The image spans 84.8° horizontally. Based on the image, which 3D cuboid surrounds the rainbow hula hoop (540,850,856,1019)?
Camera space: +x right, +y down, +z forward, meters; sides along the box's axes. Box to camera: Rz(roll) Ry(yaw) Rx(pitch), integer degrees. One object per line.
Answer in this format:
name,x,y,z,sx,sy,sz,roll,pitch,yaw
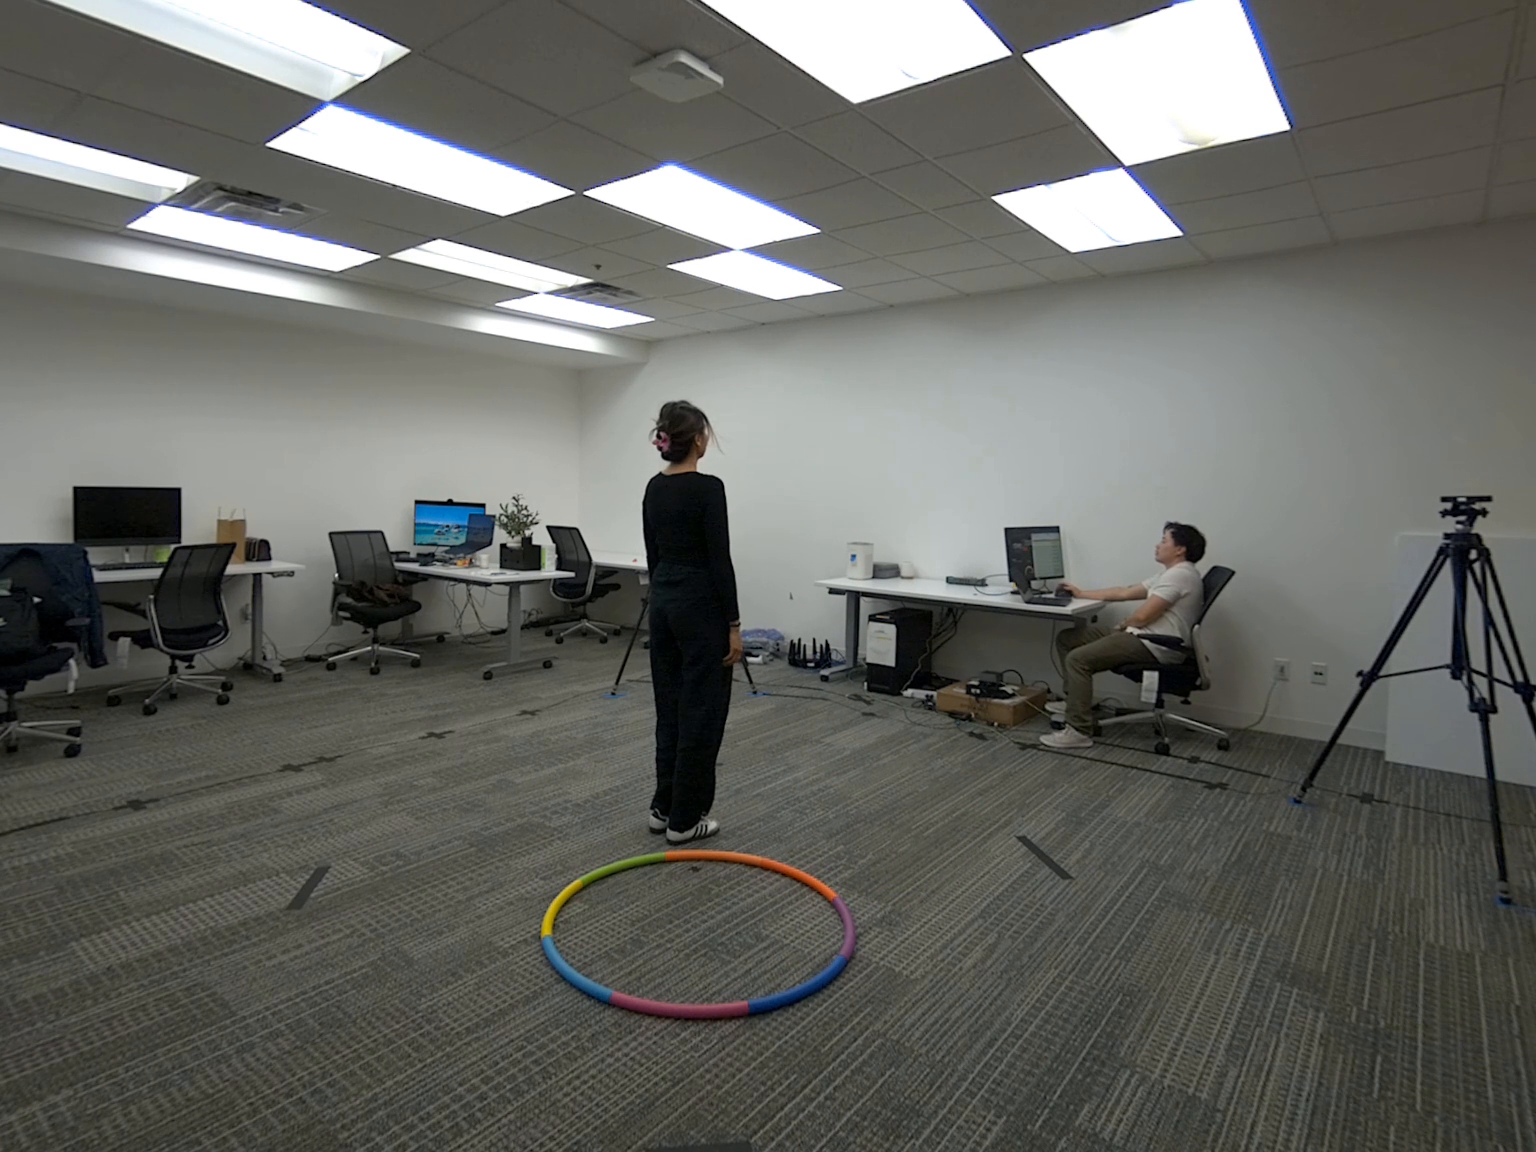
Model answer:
rainbow hula hoop,-0.225,1.074,2.704,0.978,0.035,0.984,1,5,-2
